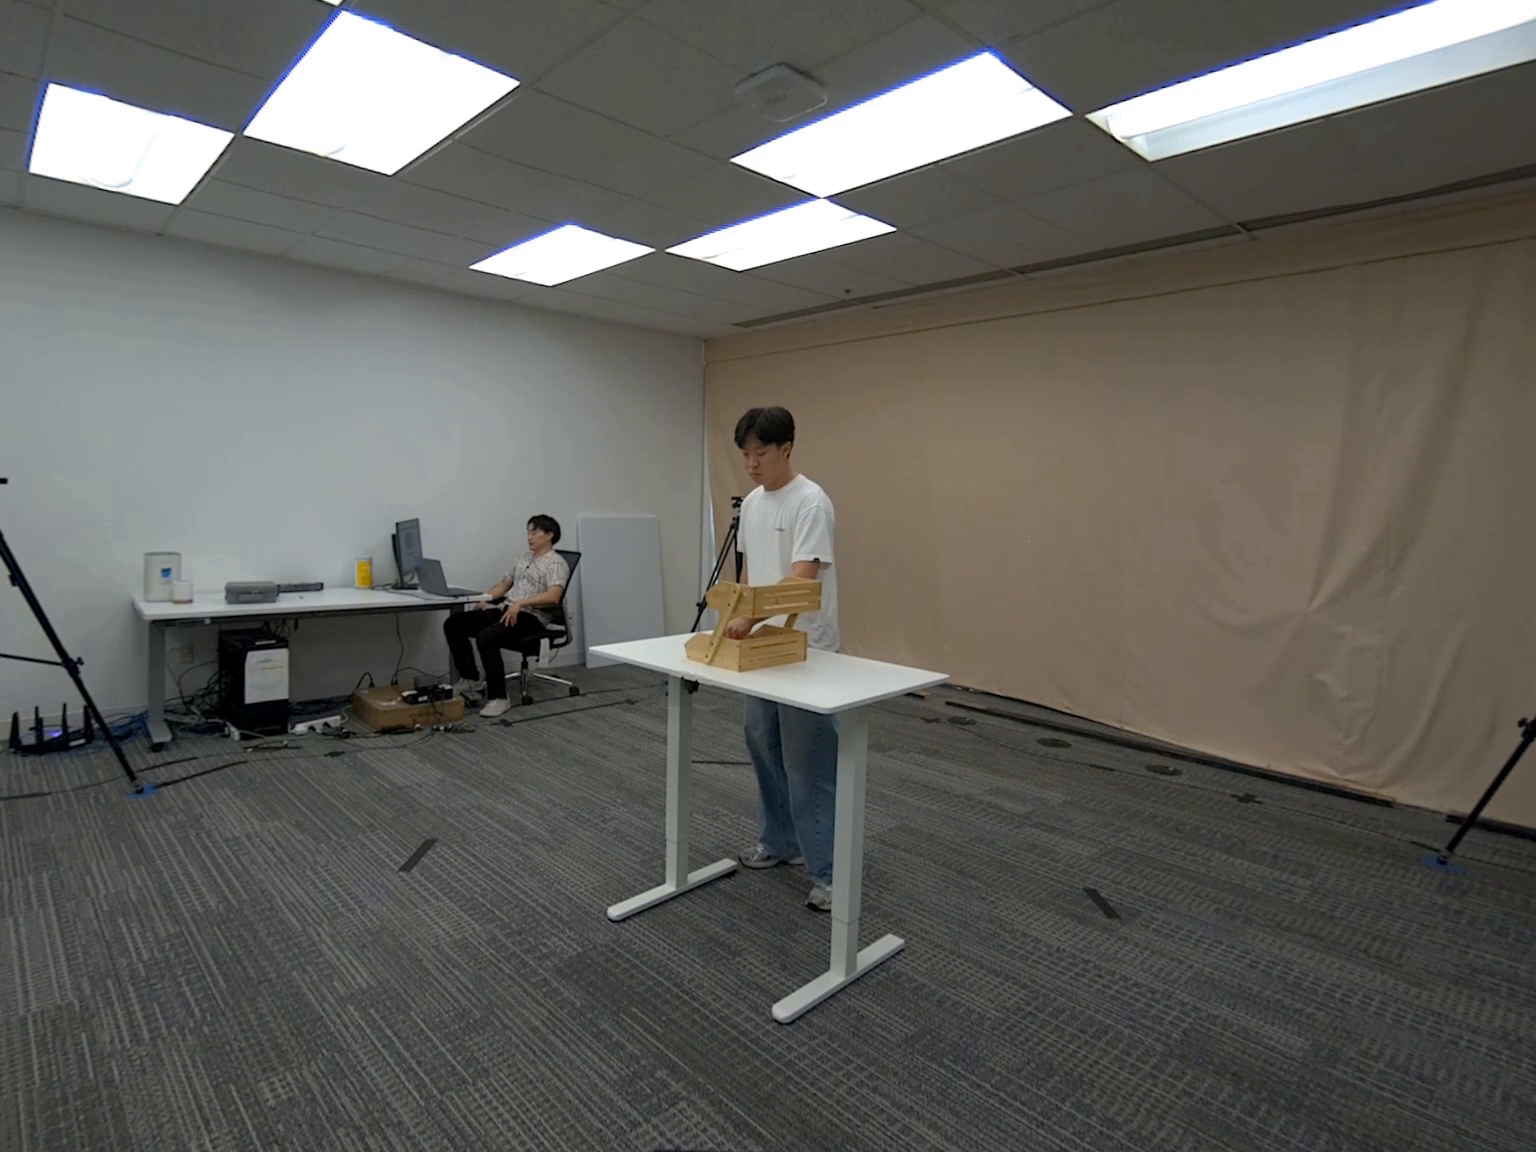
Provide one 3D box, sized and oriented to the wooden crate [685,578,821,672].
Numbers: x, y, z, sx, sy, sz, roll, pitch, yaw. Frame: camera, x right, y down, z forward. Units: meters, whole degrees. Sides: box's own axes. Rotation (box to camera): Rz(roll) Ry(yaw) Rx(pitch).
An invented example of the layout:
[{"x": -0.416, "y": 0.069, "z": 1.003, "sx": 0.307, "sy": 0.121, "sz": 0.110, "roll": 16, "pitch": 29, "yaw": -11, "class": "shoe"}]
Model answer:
[{"x": -0.055, "y": 0.136, "z": 2.633, "sx": 0.317, "sy": 0.272, "sz": 0.310, "roll": -3, "pitch": 7, "yaw": -44, "class": "wooden crate"}]
